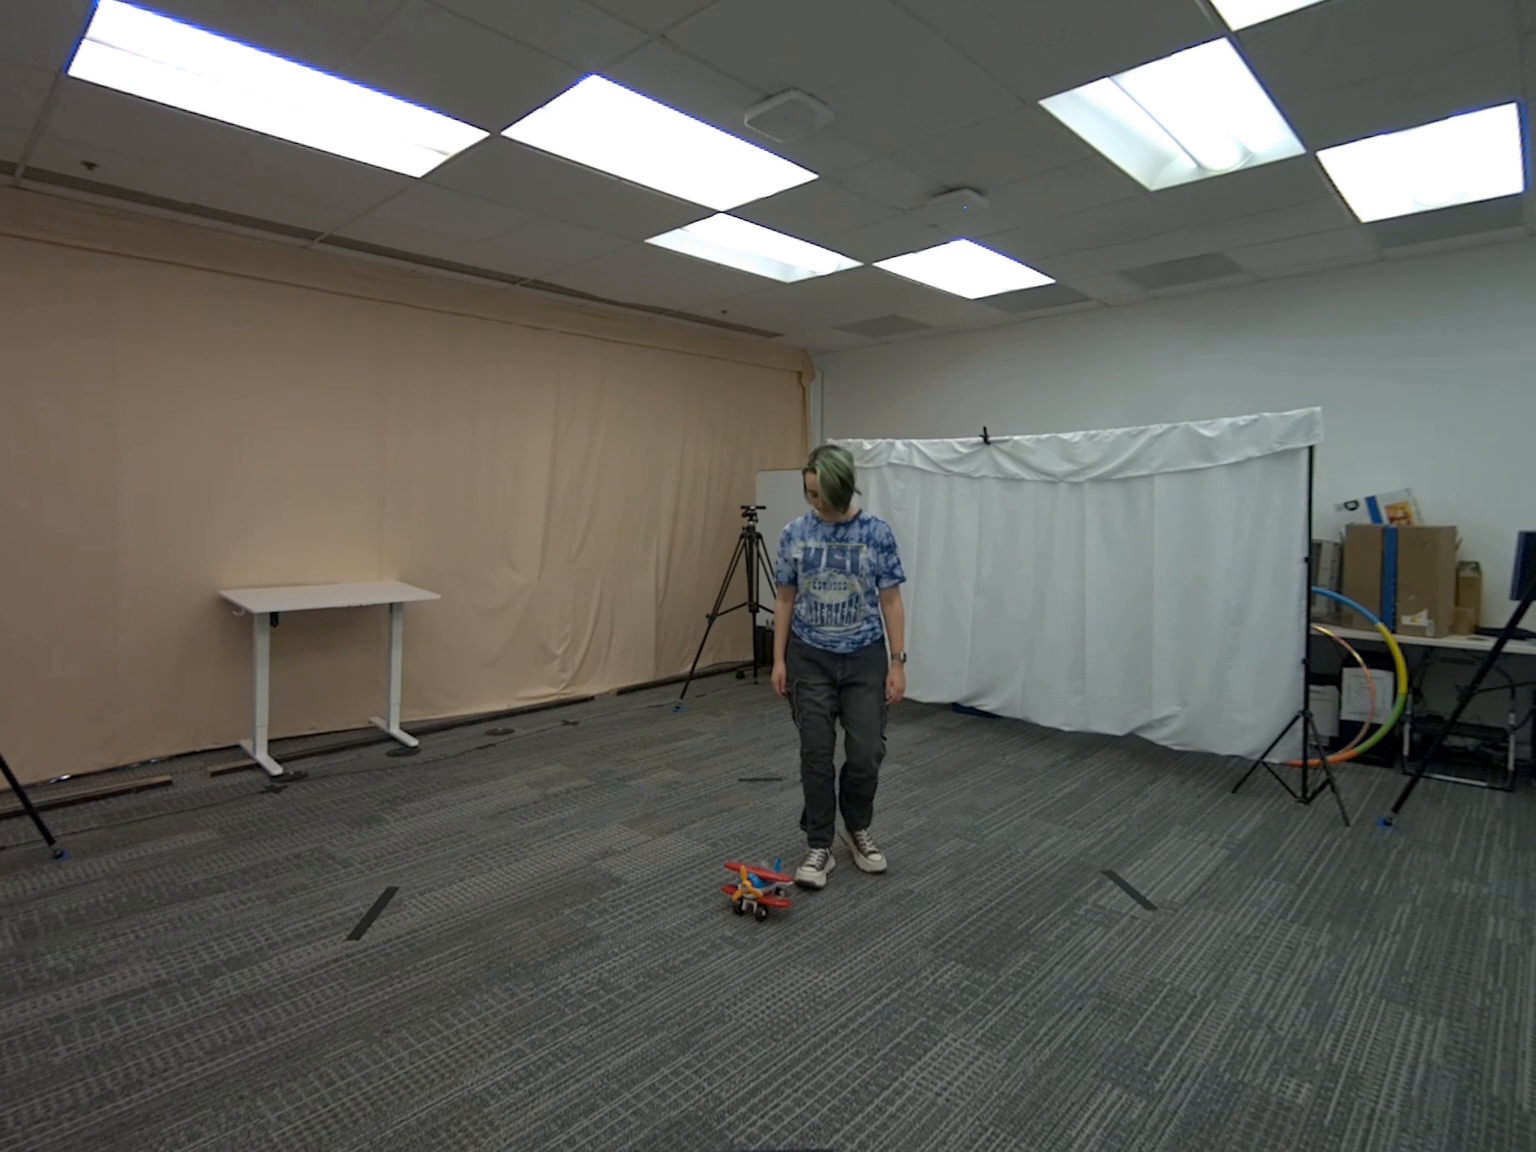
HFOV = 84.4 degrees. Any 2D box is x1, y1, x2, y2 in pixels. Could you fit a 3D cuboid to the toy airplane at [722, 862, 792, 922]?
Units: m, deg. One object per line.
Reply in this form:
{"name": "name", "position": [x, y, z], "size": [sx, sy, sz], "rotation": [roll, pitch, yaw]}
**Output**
{"name": "toy airplane", "position": [-0.033, 1.072, 2.926], "size": [0.252, 0.156, 0.259], "rotation": [0, 6, 2]}
